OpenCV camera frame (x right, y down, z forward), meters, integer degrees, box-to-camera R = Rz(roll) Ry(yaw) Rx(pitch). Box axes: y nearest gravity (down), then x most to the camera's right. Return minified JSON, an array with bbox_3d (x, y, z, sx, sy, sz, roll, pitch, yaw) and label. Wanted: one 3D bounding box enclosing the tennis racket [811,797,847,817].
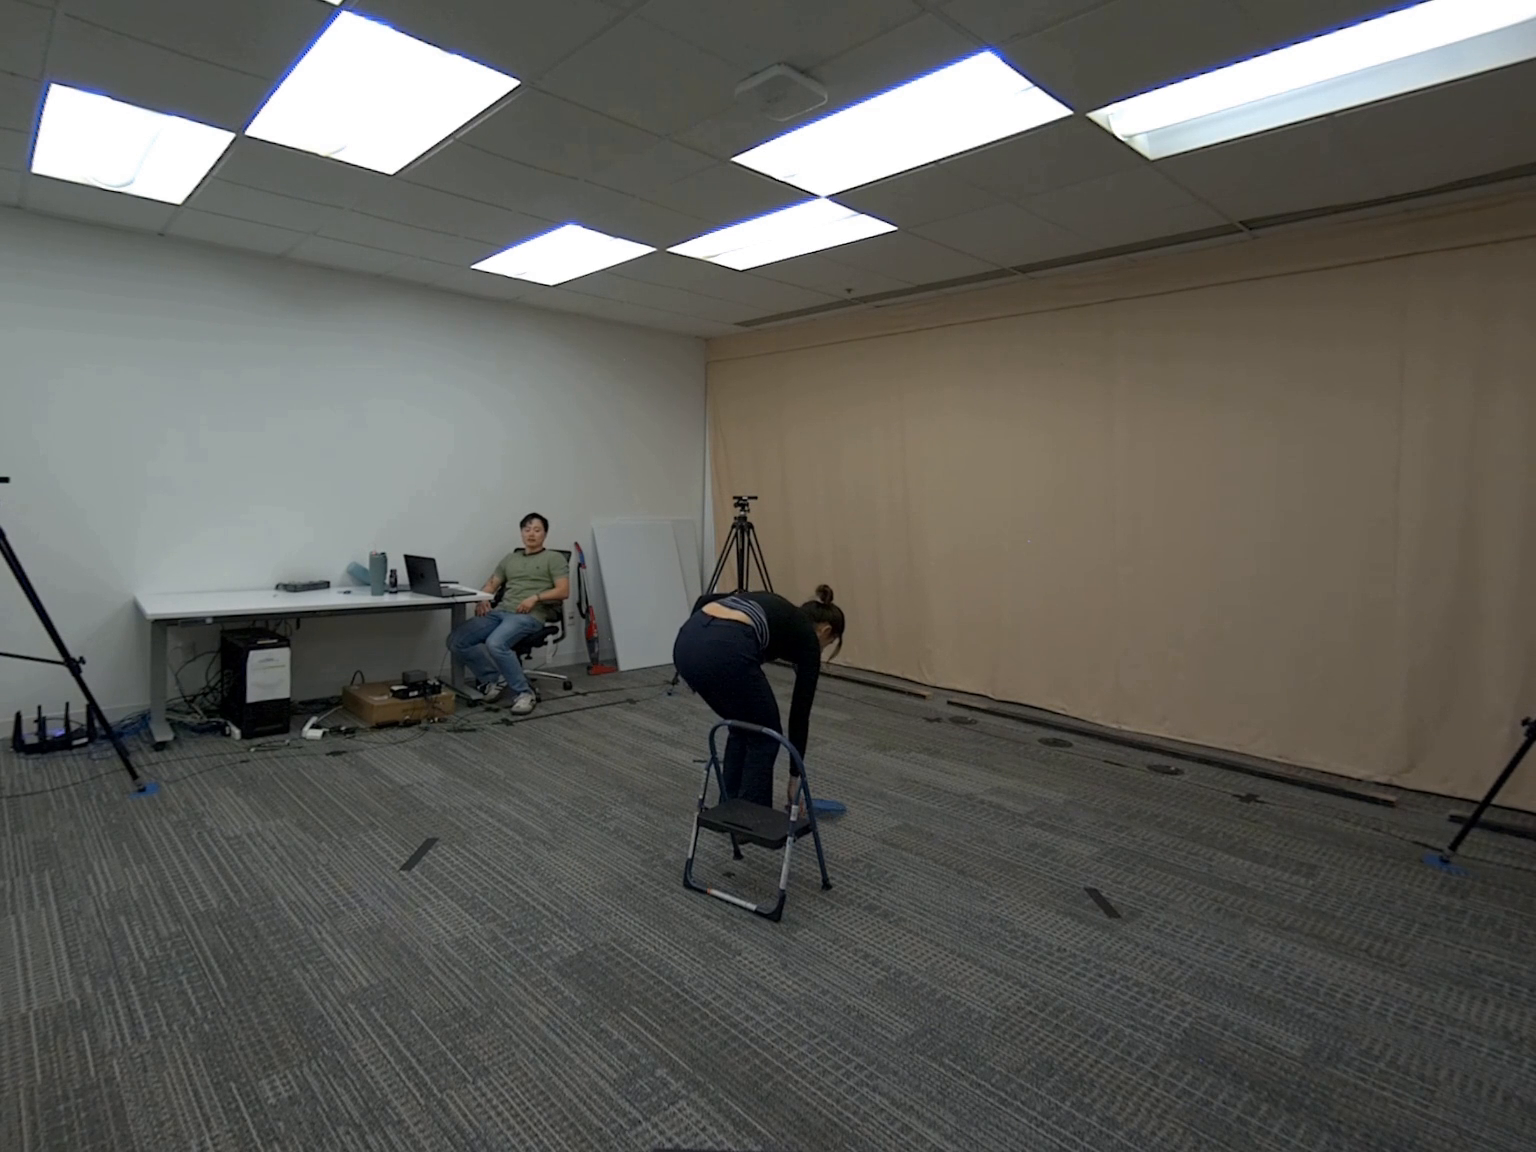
[{"bbox_3d":[0.191,1.009,3.708,0.219,0.032,0.421,6,-4,33],"label":"tennis racket"}]
